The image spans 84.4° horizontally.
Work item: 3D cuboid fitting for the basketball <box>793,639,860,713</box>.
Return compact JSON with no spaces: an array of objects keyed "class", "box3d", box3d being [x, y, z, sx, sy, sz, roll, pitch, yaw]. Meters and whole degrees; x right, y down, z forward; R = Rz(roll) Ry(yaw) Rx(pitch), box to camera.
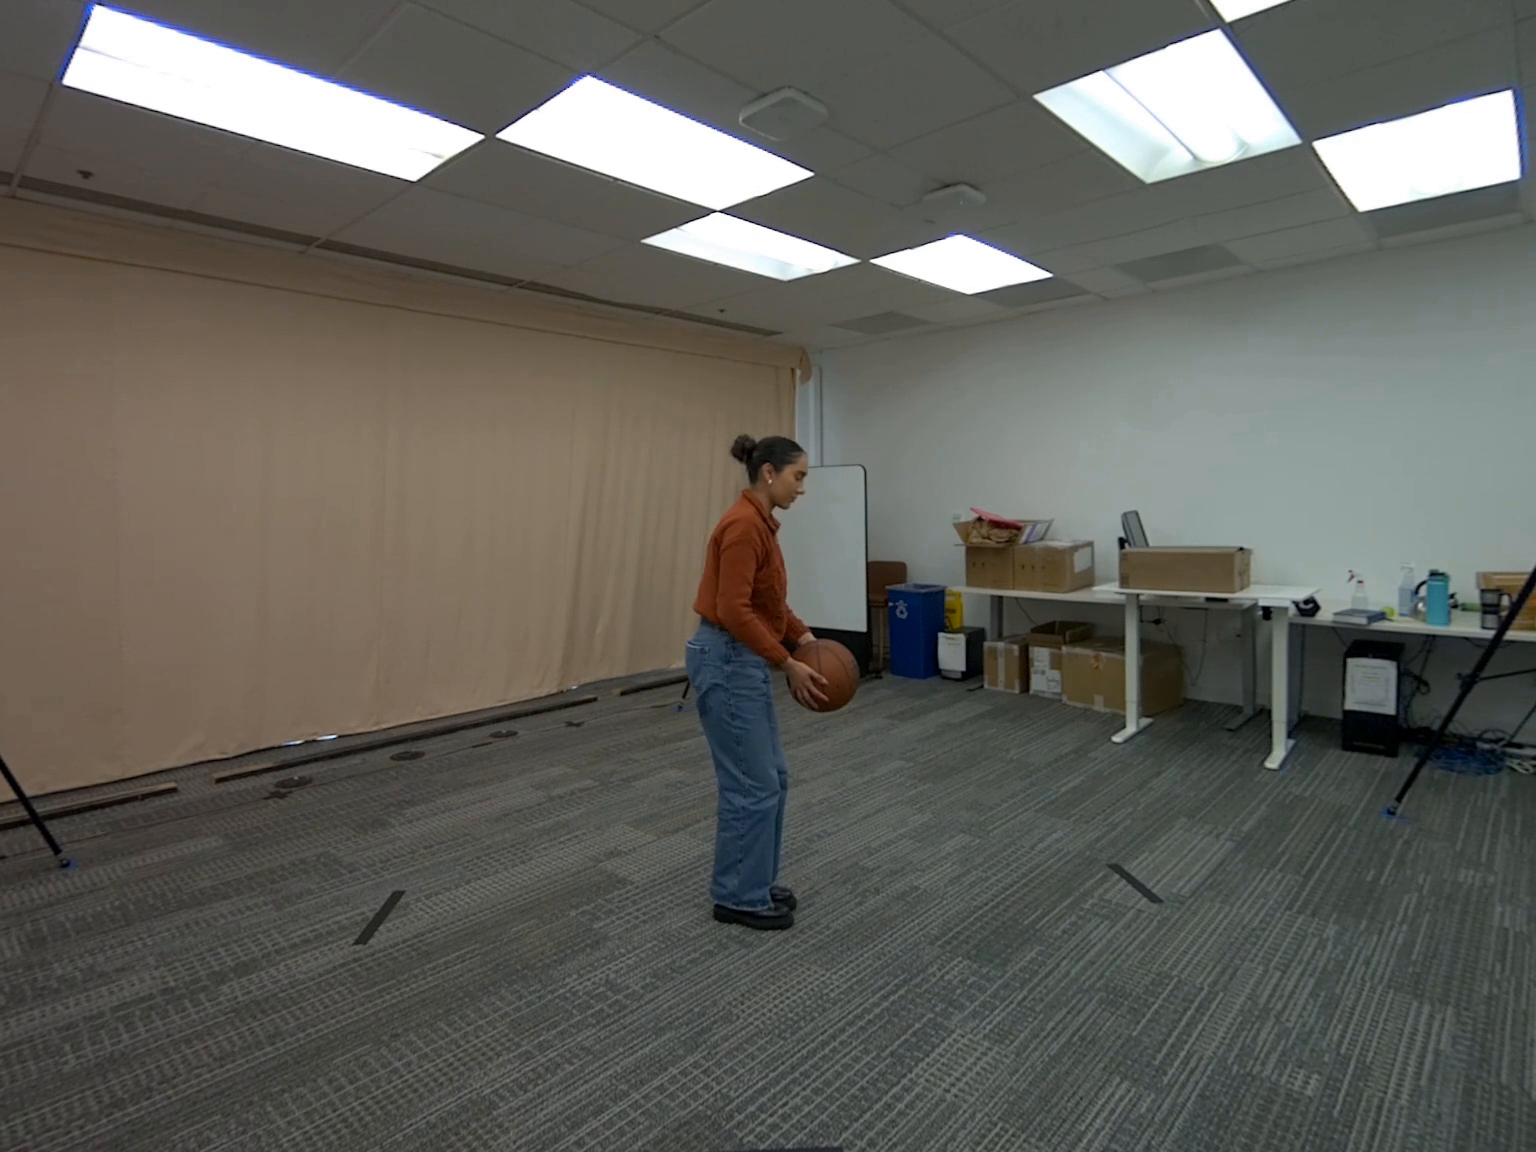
[{"class":"basketball","box3d":[0.181,0.329,2.743,0.236,0.235,0.237,-1,4,-2]}]
